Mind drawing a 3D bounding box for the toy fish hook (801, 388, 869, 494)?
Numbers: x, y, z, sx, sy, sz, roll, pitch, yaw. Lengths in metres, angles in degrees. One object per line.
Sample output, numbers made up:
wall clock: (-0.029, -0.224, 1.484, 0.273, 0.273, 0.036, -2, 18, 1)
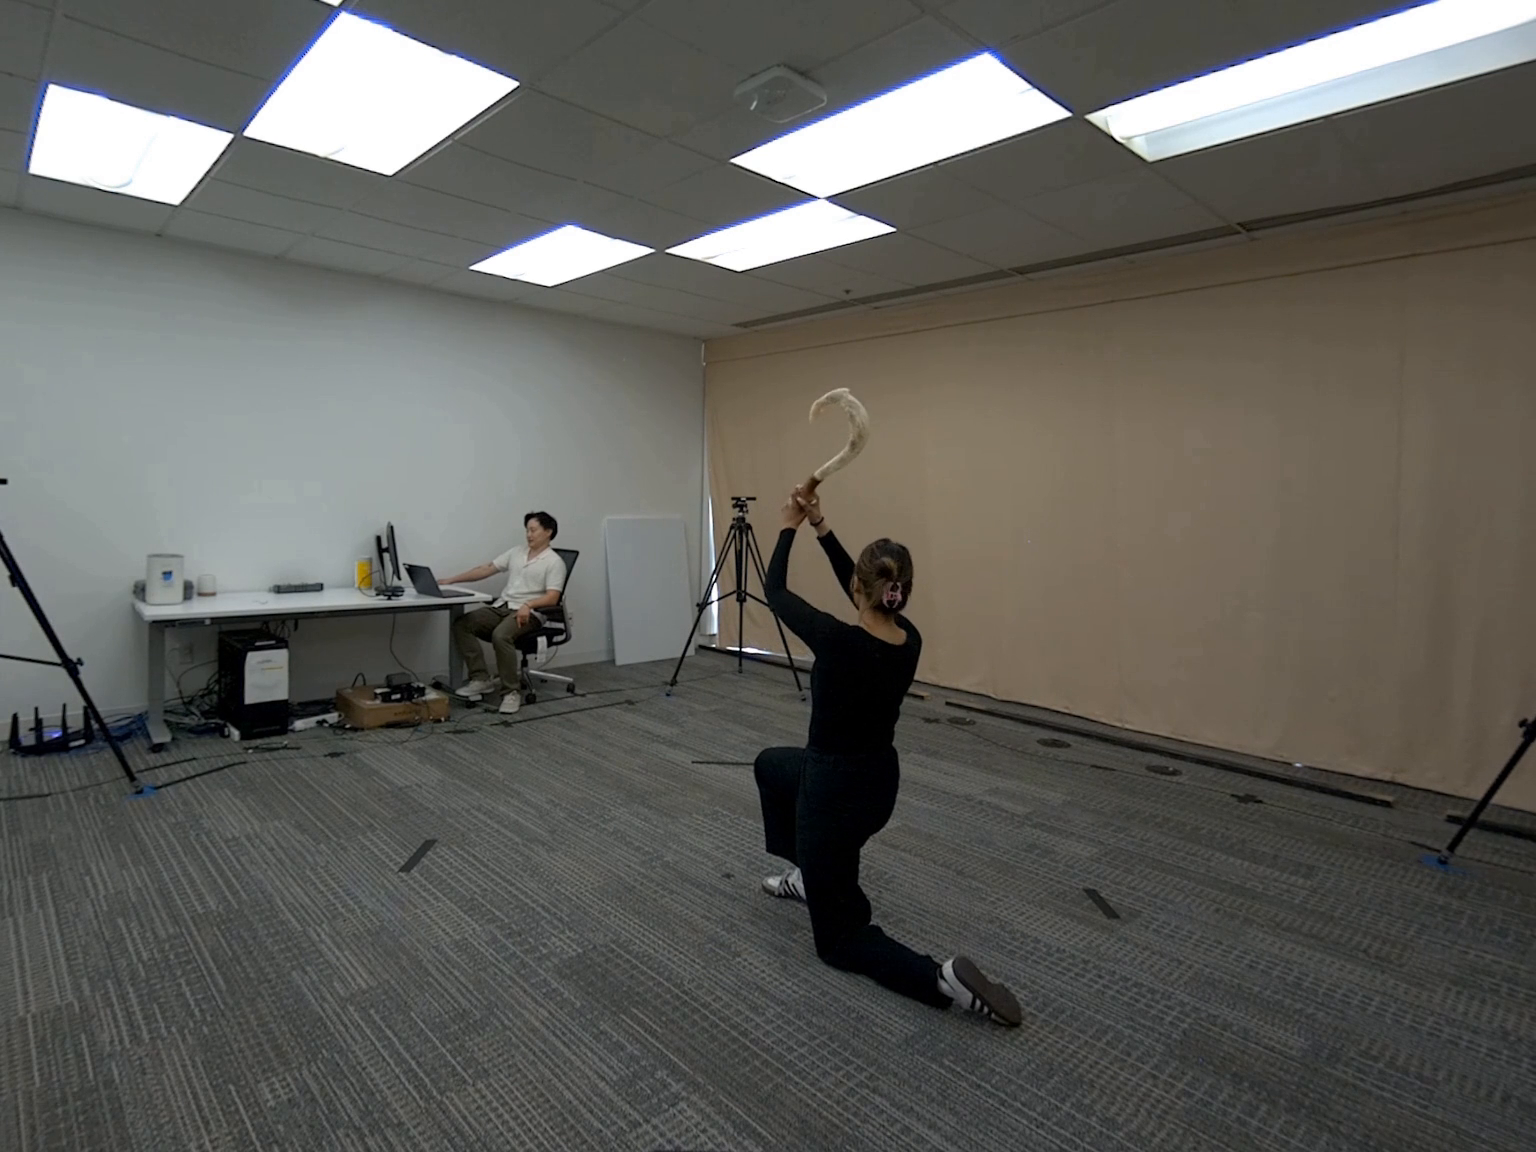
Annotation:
toy fish hook: (0.167, -0.375, 2.685, 0.047, 0.230, 0.504, -12, -28, -38)
